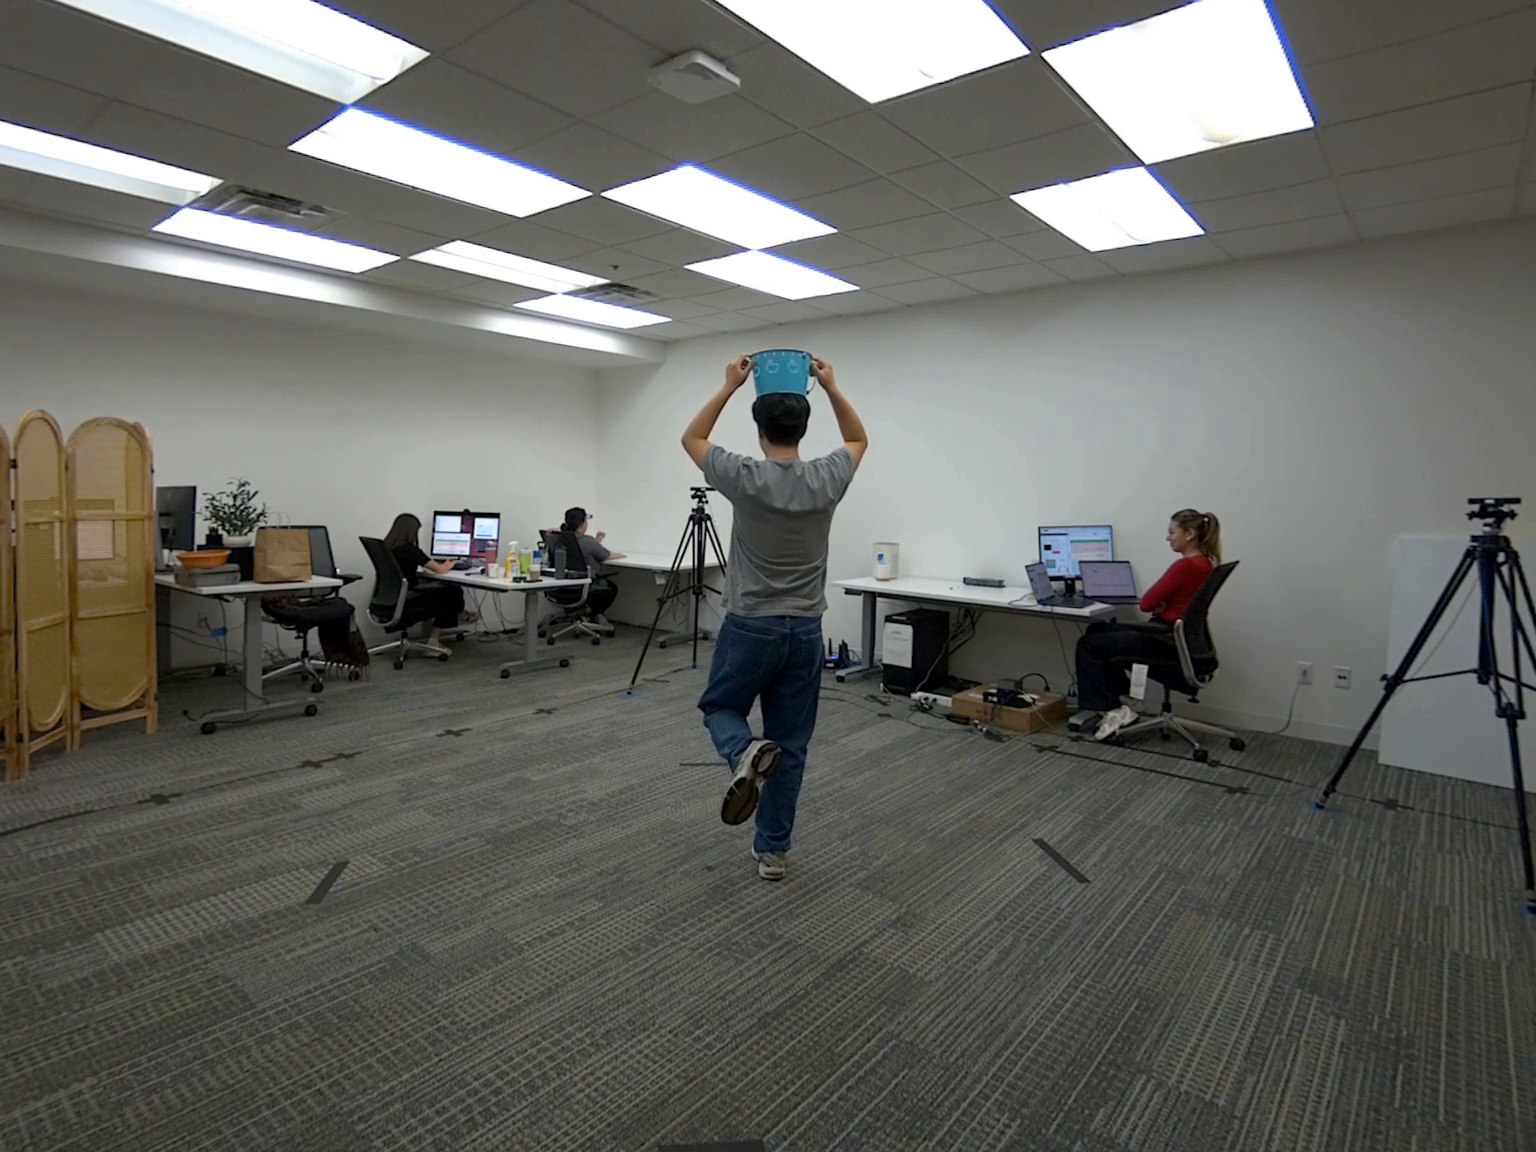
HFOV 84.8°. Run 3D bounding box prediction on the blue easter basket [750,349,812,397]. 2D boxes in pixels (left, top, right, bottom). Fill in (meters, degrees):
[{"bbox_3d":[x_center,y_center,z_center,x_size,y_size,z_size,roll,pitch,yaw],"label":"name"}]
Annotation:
[{"bbox_3d":[0.047,-0.734,3.114,0.243,0.156,0.243,1,-2,-2],"label":"blue easter basket"}]
